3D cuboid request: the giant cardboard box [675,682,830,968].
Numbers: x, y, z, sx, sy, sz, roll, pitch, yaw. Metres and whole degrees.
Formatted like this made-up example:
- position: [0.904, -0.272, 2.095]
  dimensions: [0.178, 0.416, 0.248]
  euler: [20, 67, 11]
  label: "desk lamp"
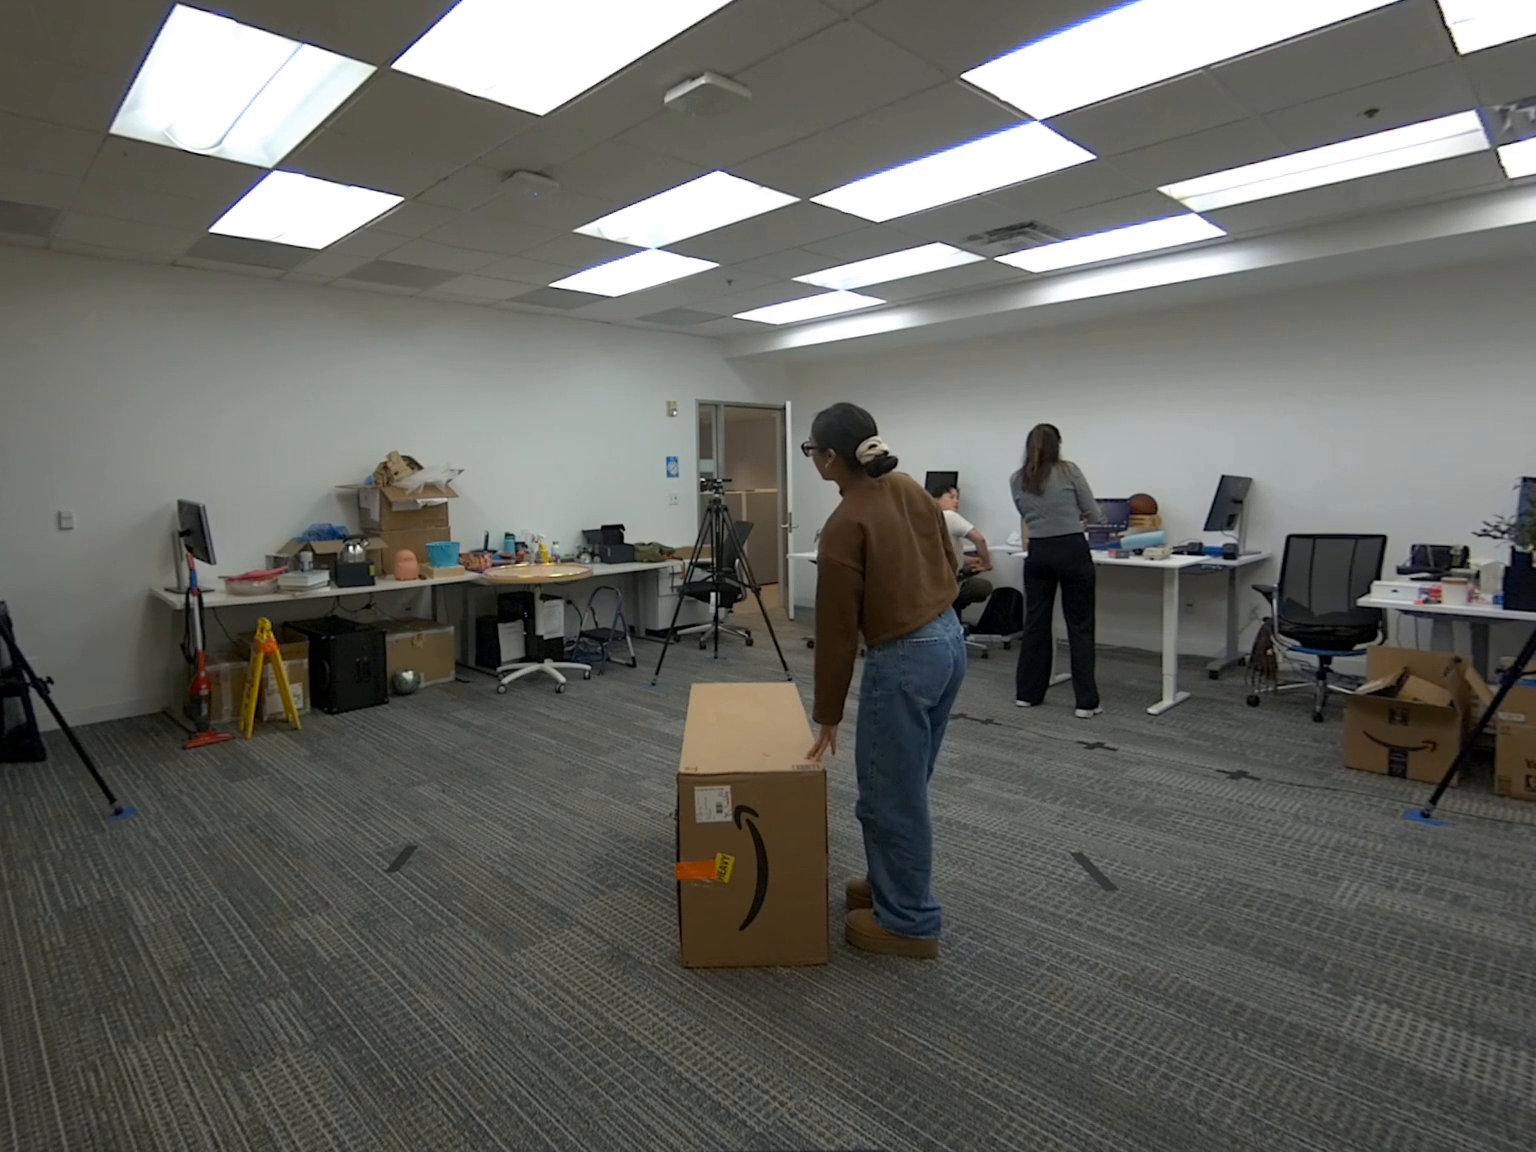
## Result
- position: [-0.070, 0.777, 2.942]
  dimensions: [0.447, 0.581, 1.032]
  euler: [0, 6, -2]
  label: "giant cardboard box"
